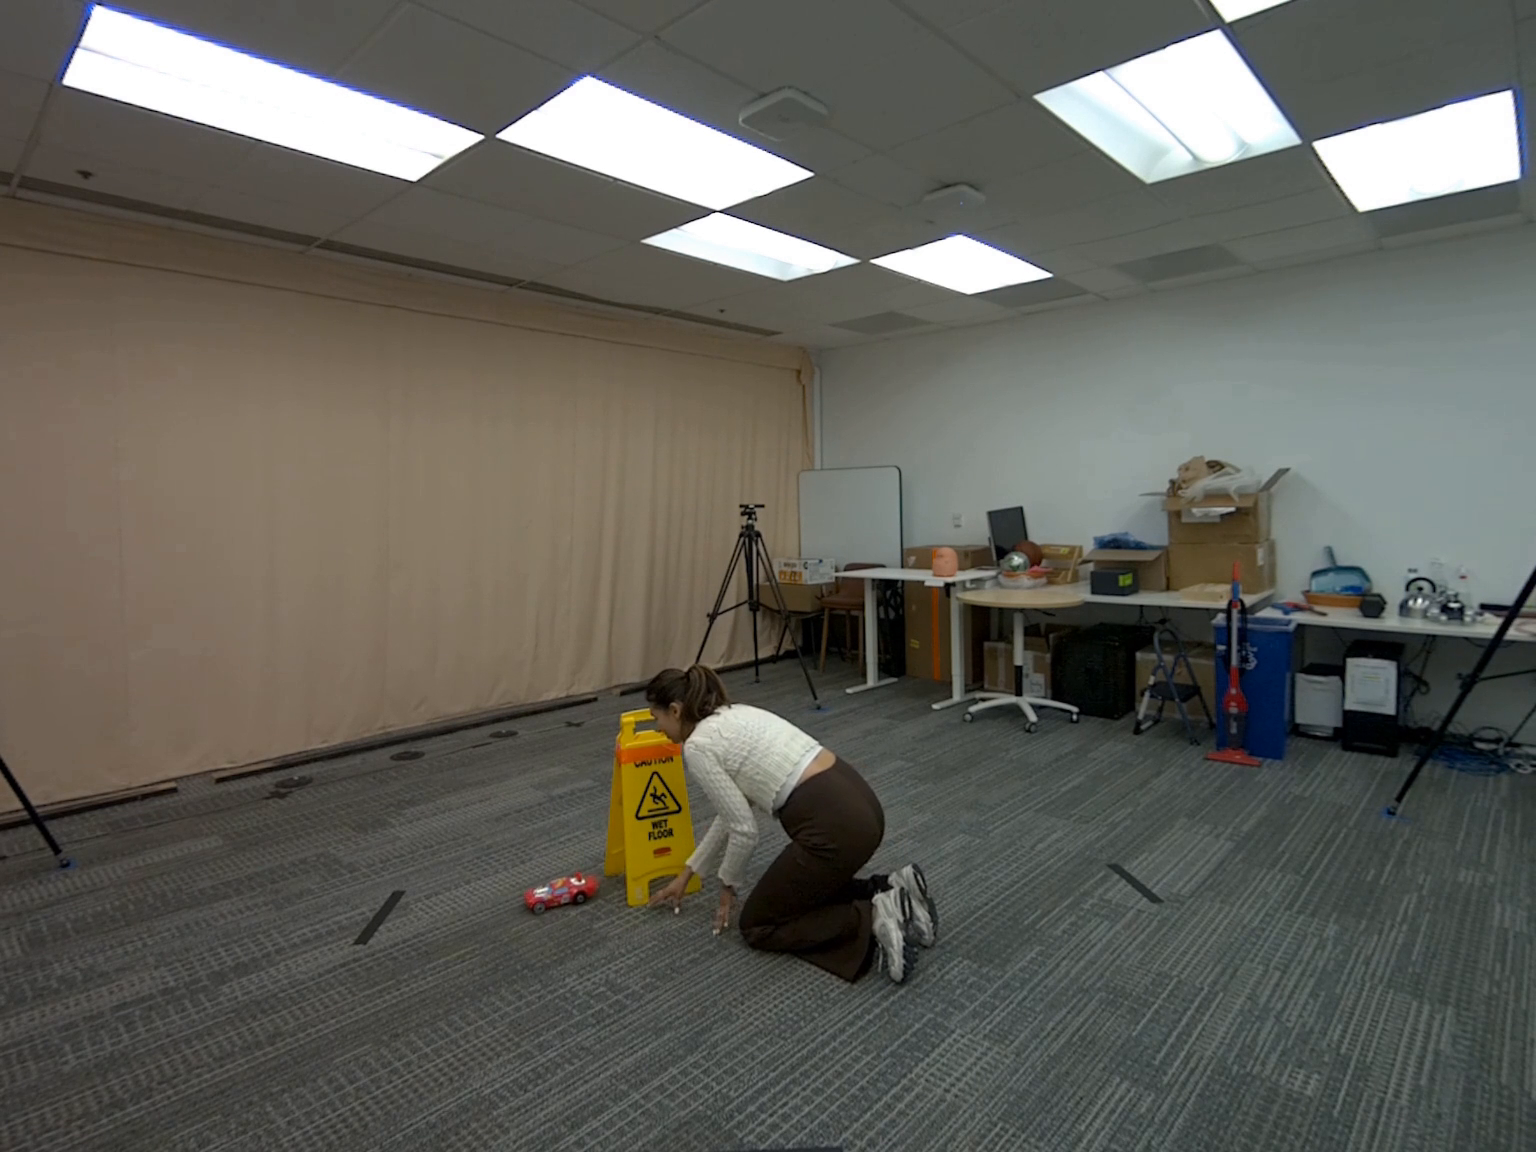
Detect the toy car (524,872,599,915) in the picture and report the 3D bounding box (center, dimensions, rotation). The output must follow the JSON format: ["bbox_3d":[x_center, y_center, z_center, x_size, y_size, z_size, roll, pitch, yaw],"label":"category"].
[{"bbox_3d":[-0.722,1.130,2.992,0.250,0.083,0.133,-15,8,-23],"label":"toy car"}]
